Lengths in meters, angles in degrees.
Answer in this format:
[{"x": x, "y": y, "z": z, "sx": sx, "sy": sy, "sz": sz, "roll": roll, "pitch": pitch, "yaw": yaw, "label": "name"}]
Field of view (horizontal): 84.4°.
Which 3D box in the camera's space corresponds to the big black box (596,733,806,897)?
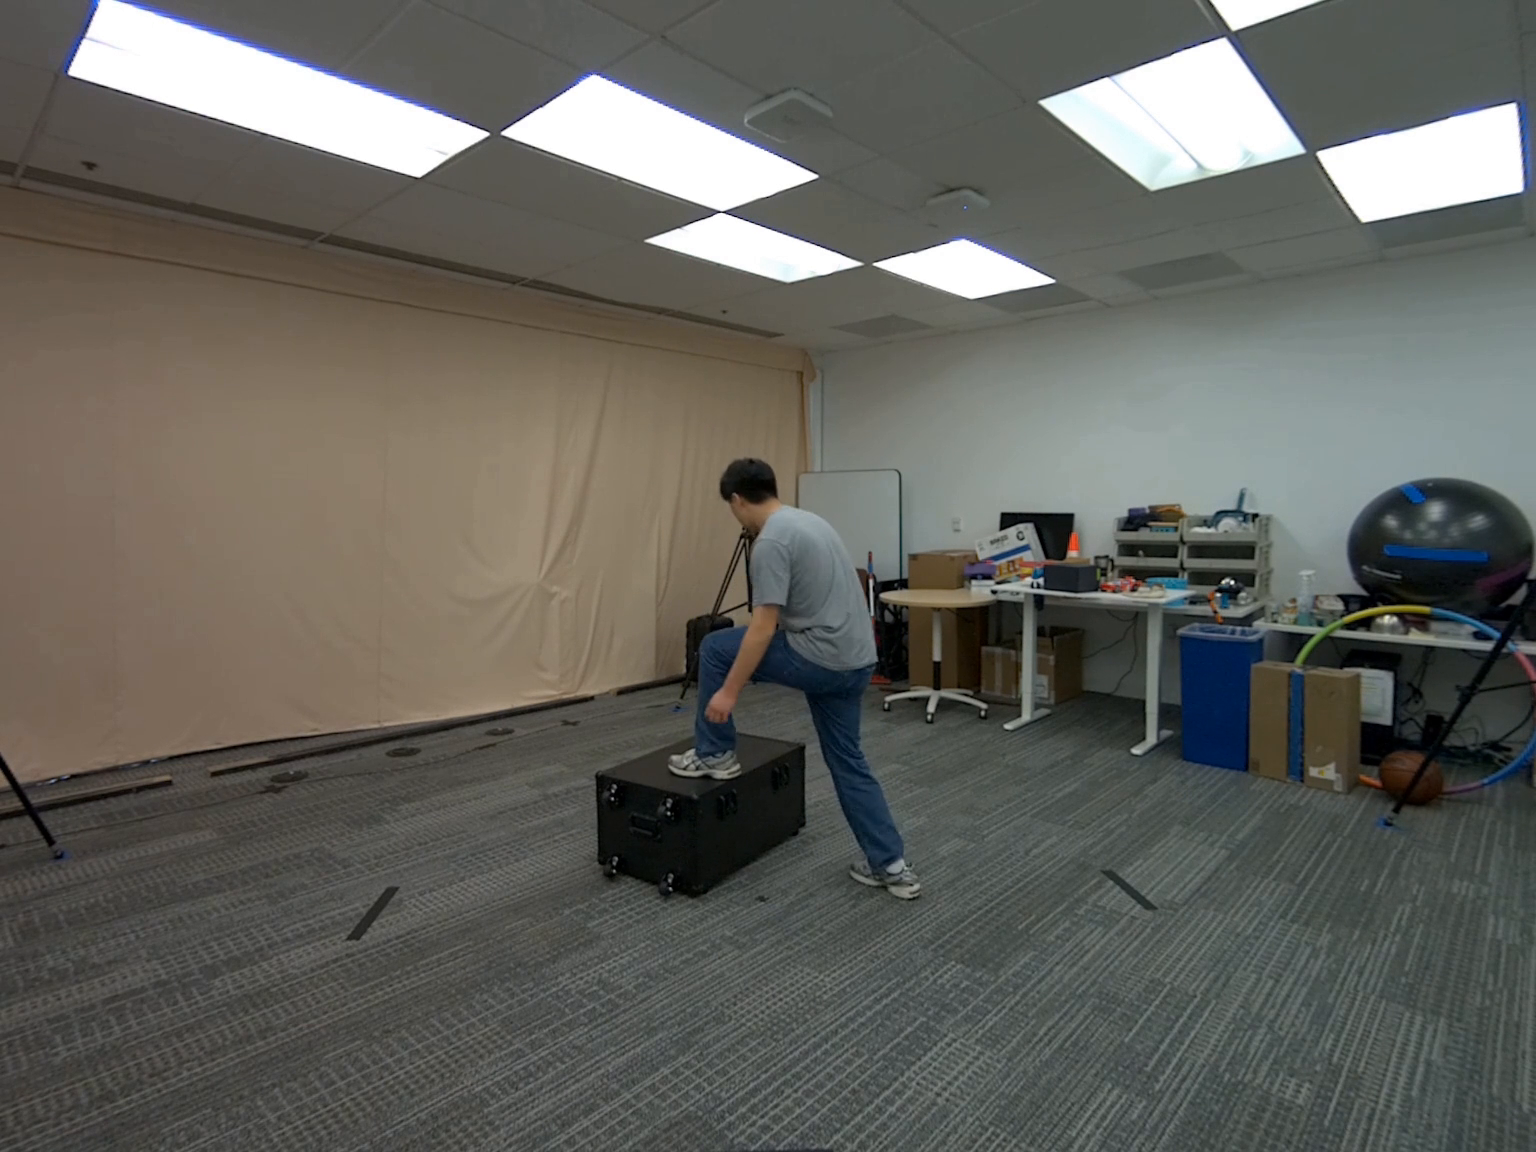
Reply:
[{"x": -0.265, "y": 0.923, "z": 3.383, "sx": 0.537, "sy": 0.395, "sz": 0.837, "roll": 2, "pitch": 5, "yaw": 33, "label": "big black box"}]
